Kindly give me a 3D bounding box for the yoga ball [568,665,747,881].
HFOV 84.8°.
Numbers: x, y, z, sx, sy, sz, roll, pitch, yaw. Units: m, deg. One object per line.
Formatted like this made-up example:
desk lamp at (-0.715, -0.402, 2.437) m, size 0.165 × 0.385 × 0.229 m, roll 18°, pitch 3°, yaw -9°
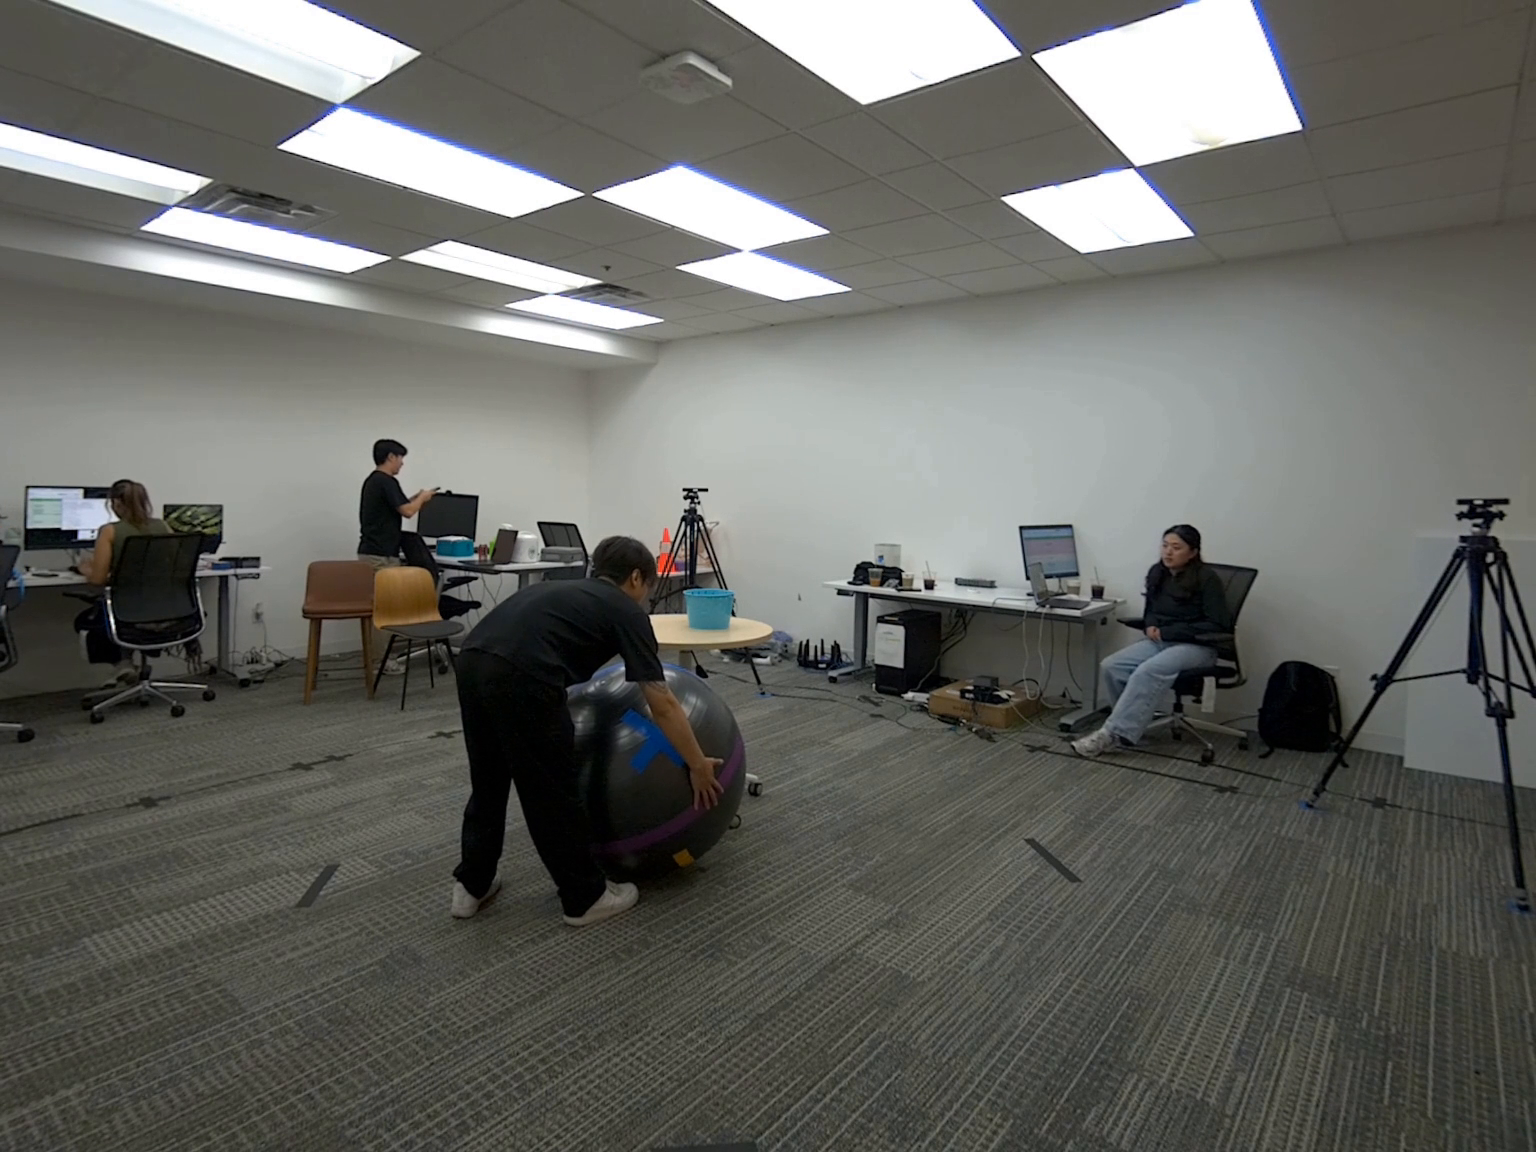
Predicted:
yoga ball at (-0.463, 0.700, 3.116) m, size 0.757 × 0.755 × 0.762 m, roll 1°, pitch 4°, yaw -2°
